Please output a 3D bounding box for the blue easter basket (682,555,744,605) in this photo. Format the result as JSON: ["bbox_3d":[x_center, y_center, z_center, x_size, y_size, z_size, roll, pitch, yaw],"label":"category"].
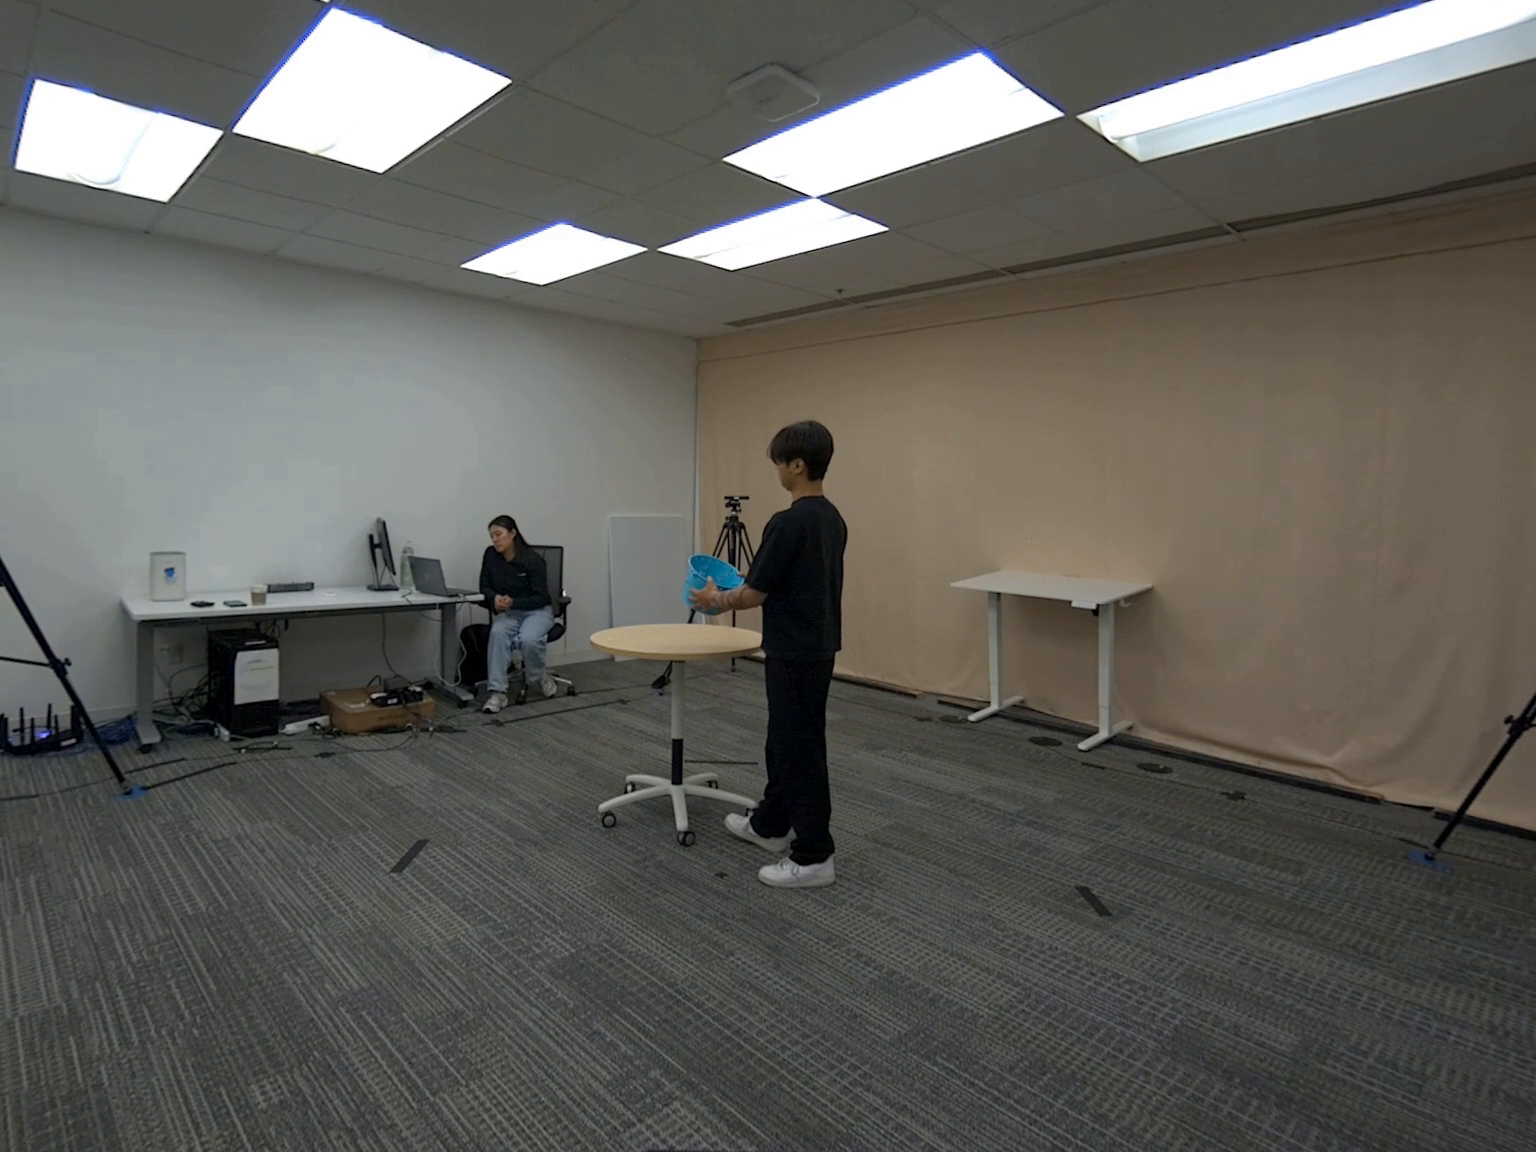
[{"bbox_3d":[-0.228,0.043,3.330,0.241,0.154,0.248,19,23,-10],"label":"blue easter basket"}]
